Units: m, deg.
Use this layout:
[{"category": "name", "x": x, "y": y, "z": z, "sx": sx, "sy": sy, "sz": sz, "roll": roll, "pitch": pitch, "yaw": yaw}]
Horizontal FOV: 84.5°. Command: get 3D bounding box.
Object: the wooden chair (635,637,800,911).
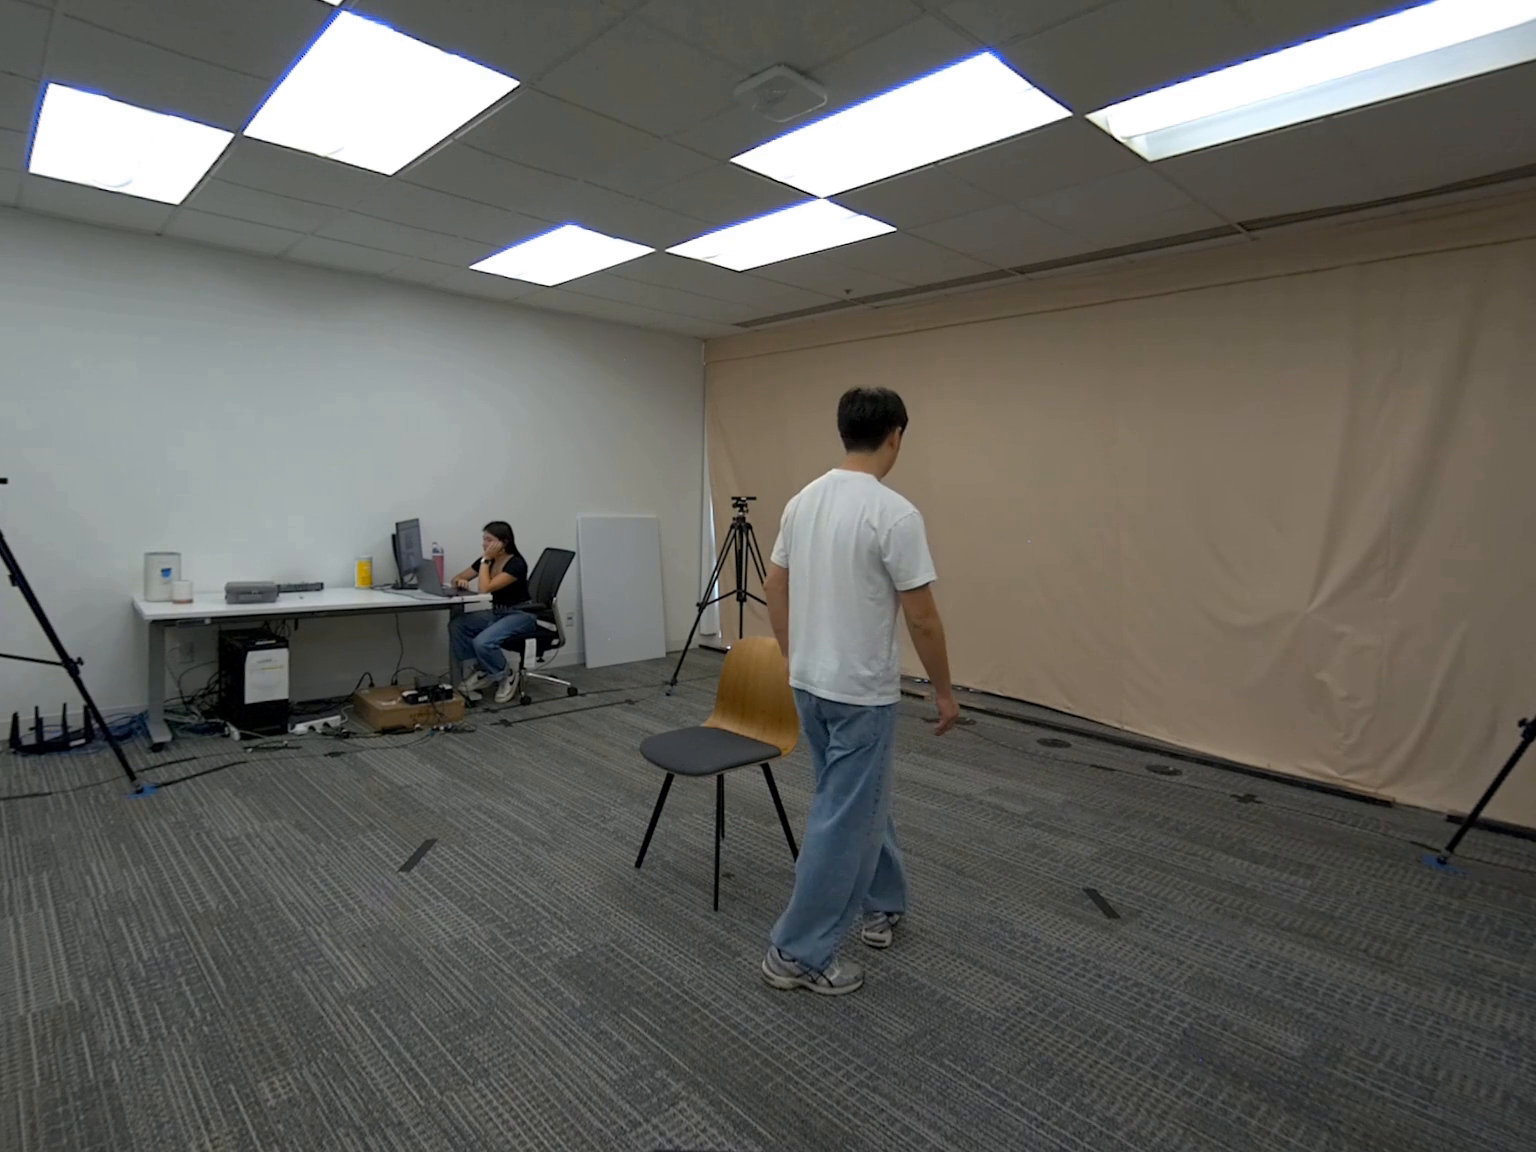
[{"category": "wooden chair", "x": -0.184, "y": 0.677, "z": 3.111, "sx": 0.510, "sy": 0.877, "sz": 0.490, "roll": 4, "pitch": 0, "yaw": -45}]
